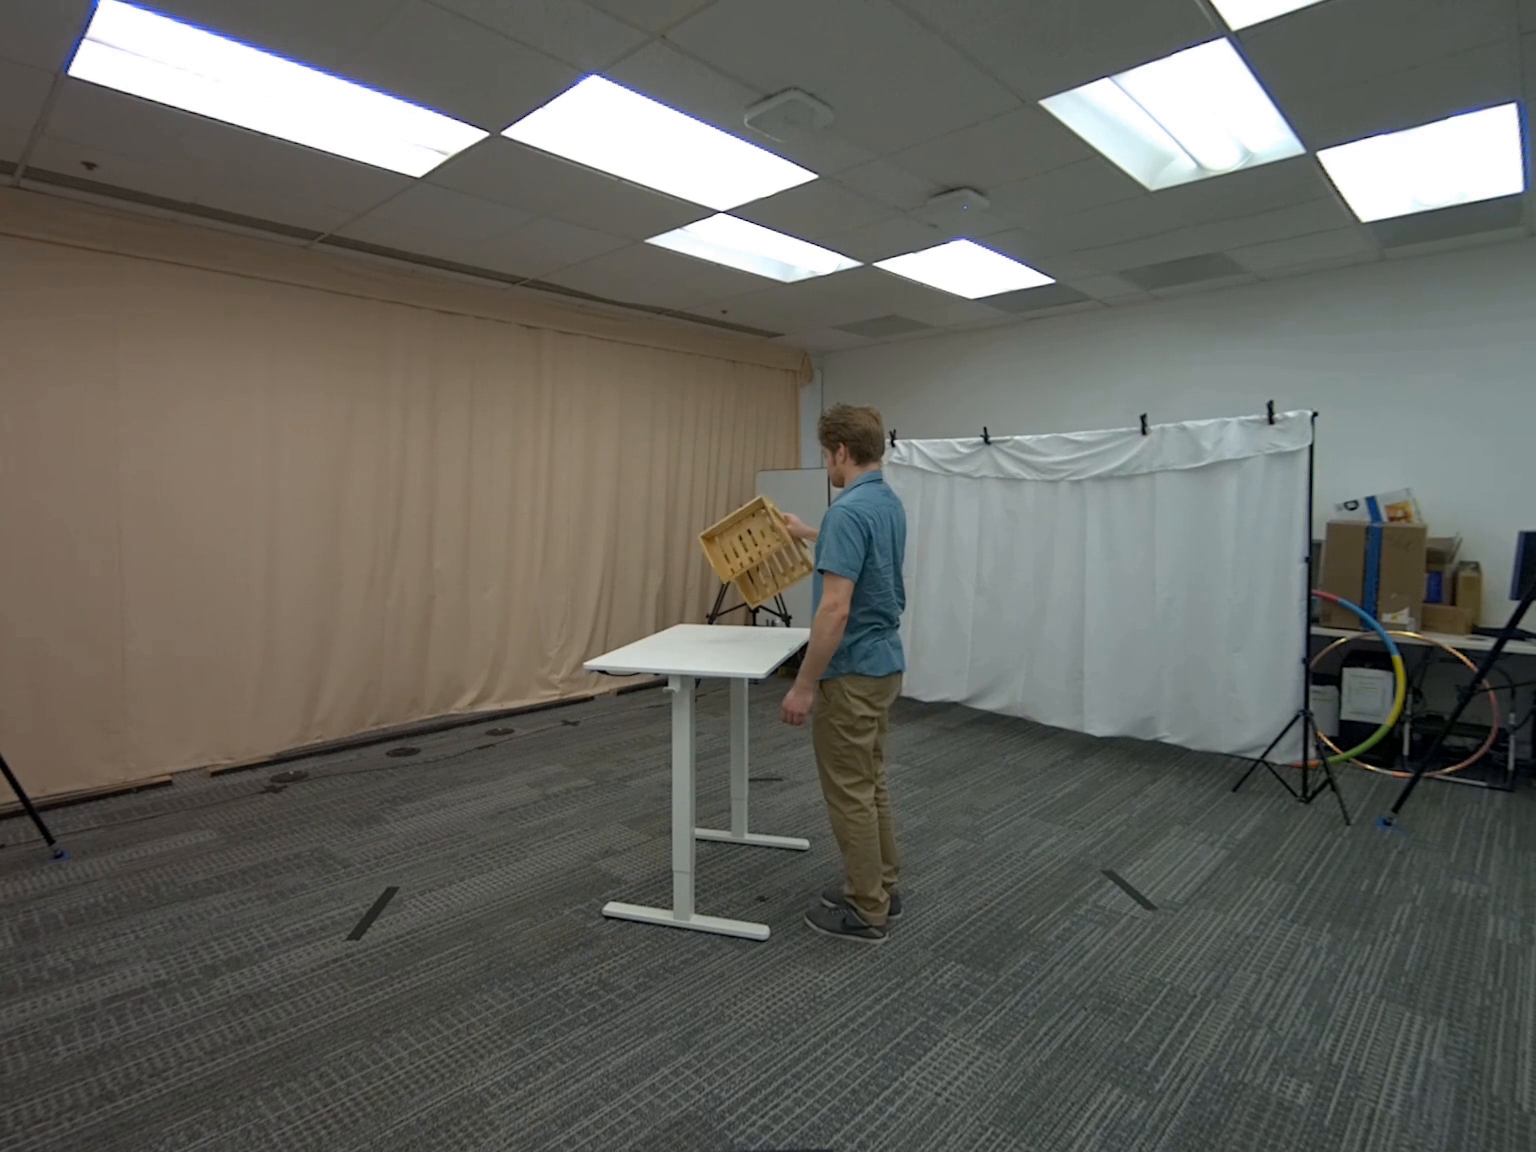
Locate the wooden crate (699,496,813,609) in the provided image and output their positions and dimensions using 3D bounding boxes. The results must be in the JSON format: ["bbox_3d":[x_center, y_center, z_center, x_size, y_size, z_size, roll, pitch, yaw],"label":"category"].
[{"bbox_3d":[-0.029,-0.080,3.221,0.327,0.308,0.265,-32,-20,16],"label":"wooden crate"}]
